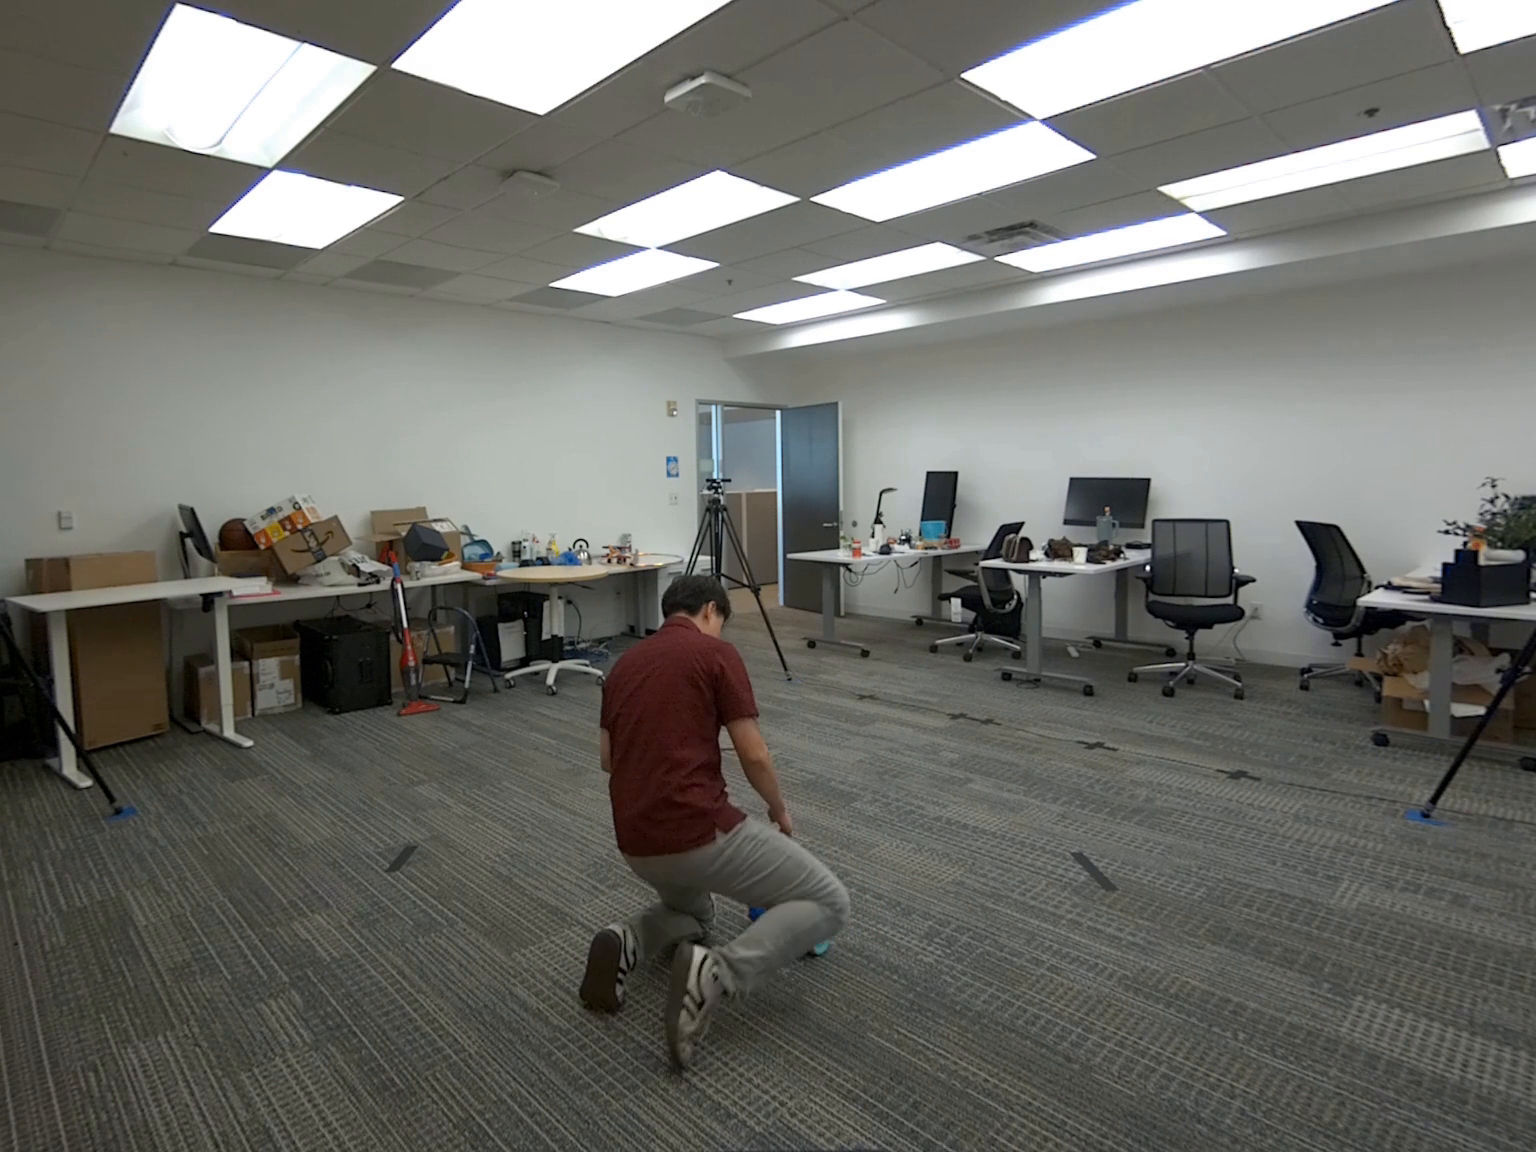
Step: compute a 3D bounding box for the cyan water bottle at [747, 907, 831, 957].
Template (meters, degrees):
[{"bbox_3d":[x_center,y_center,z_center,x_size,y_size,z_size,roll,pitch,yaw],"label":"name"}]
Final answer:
[{"bbox_3d":[0.065,1.057,2.601,0.292,0.092,0.090,5,7,43],"label":"cyan water bottle"}]
